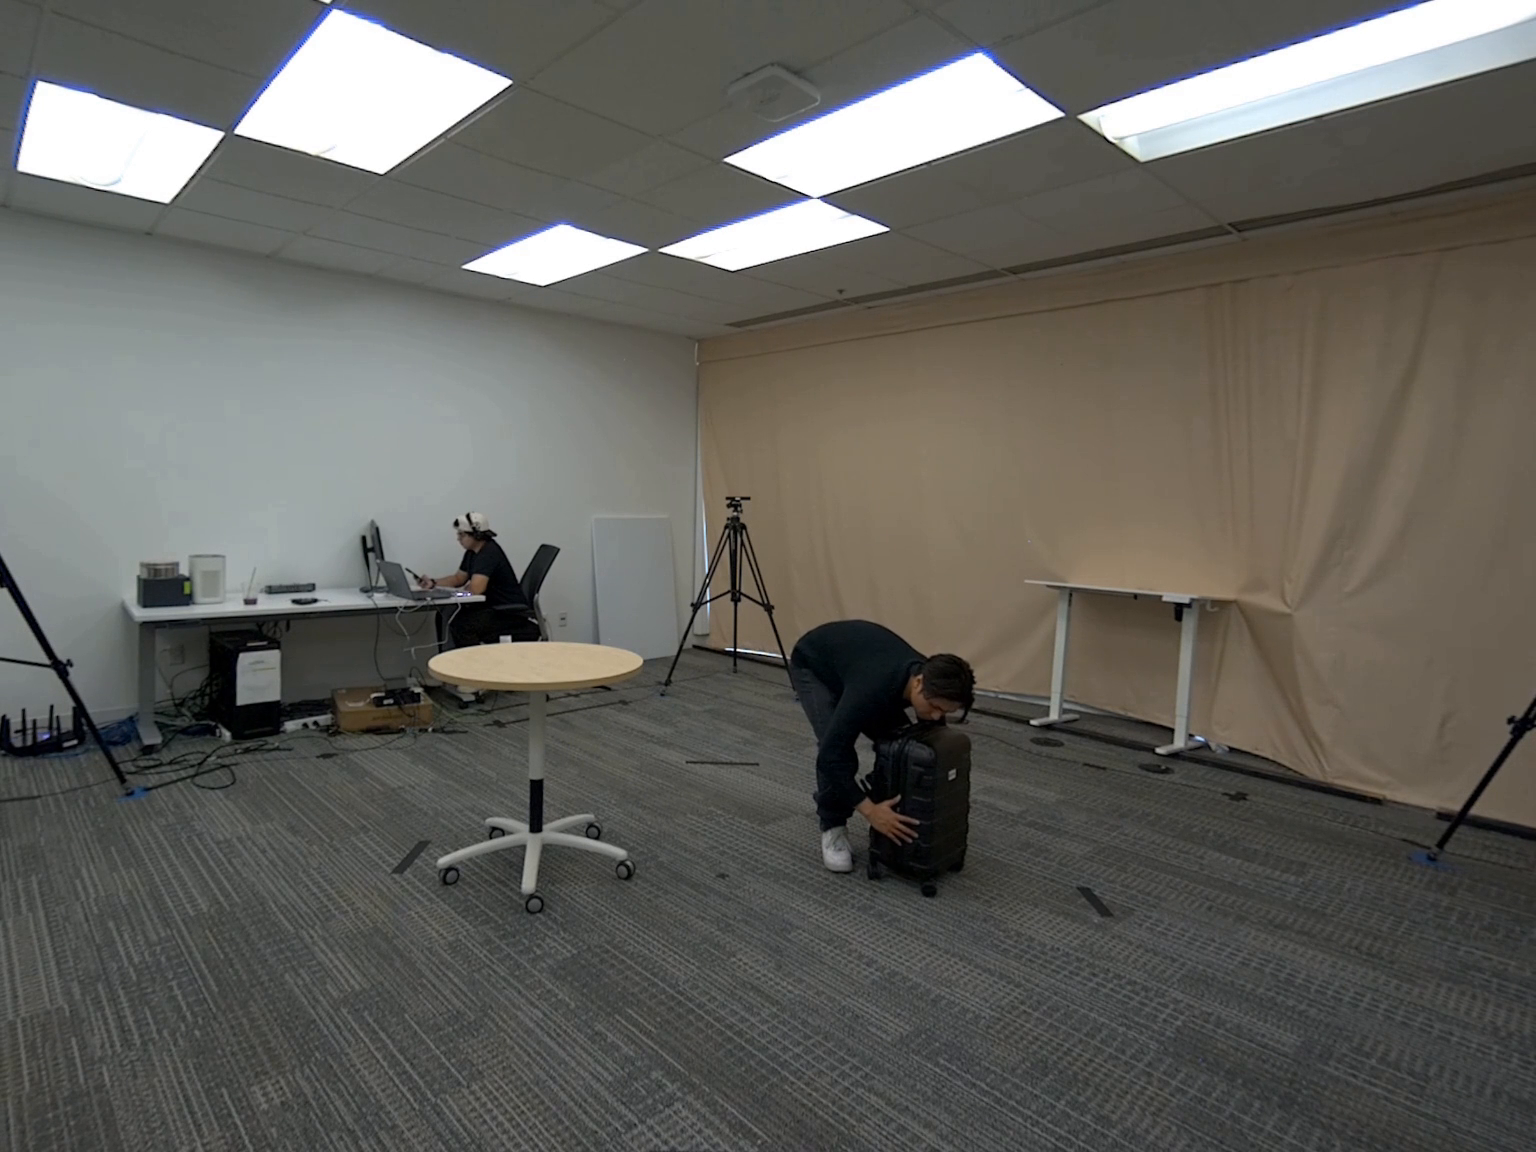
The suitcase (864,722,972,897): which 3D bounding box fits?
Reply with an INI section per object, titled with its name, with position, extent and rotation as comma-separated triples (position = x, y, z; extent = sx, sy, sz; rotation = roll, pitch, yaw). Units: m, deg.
[suitcase]
position = 0.567, 0.843, 3.155
extent = 0.255, 0.548, 0.367
rotation = 6, 6, 40
